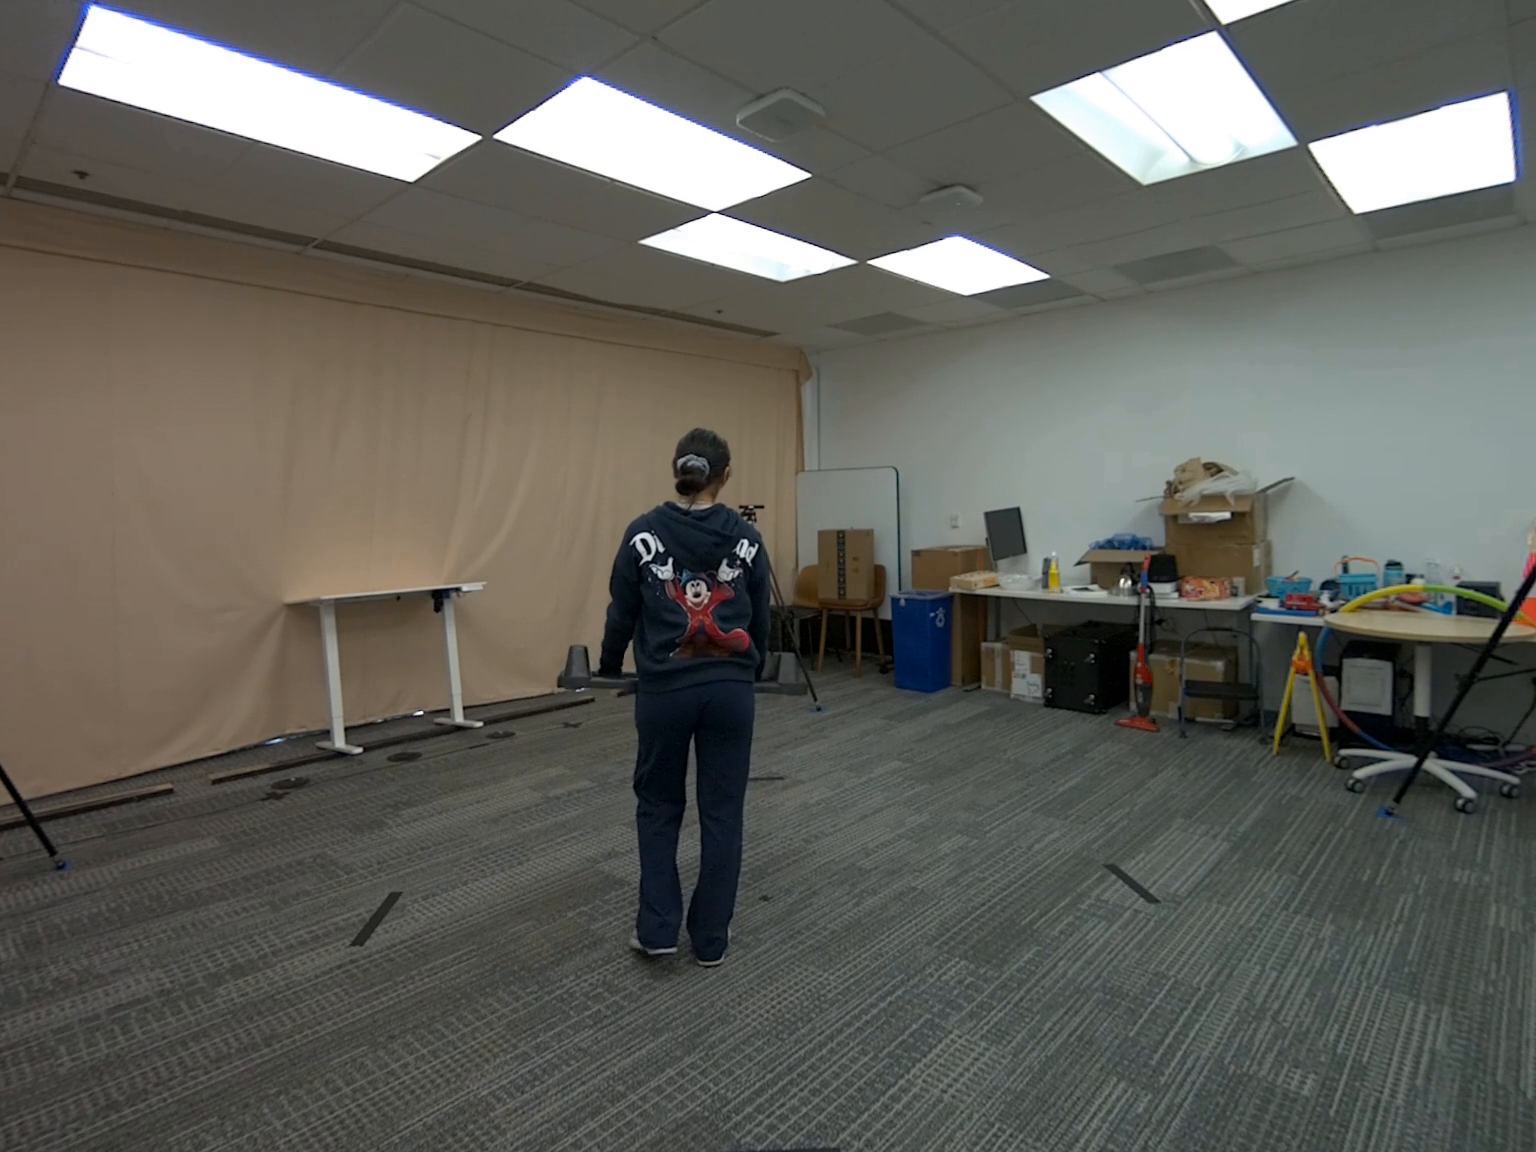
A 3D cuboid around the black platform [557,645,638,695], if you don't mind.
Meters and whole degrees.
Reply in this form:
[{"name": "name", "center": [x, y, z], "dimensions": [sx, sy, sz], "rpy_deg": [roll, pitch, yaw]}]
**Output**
[{"name": "black platform", "center": [-0.324, 0.329, 2.933], "dimensions": [0.797, 0.144, 0.609], "rpy_deg": [3, -6, -10]}]
